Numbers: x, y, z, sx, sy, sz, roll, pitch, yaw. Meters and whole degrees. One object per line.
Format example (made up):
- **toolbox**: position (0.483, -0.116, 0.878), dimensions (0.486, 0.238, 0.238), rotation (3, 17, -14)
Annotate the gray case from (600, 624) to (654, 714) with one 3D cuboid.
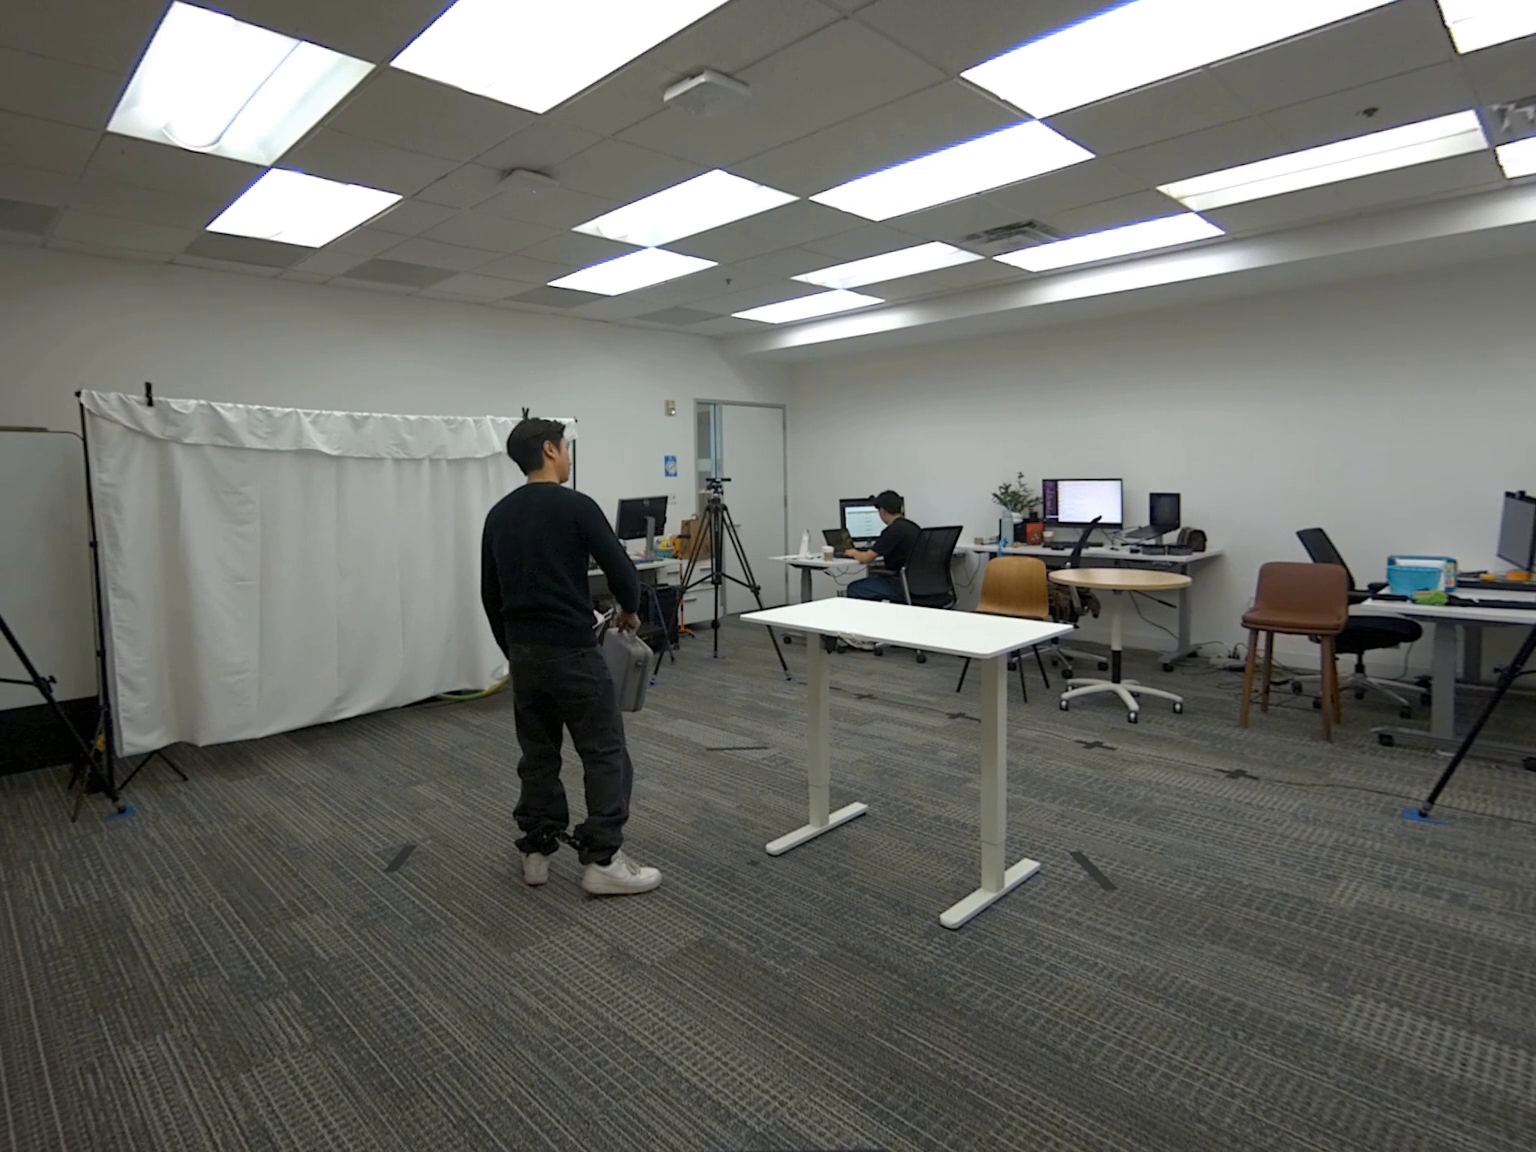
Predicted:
- **gray case**: position (-0.542, 0.347, 3.209), dimensions (0.101, 0.258, 0.266), rotation (5, 14, -30)
